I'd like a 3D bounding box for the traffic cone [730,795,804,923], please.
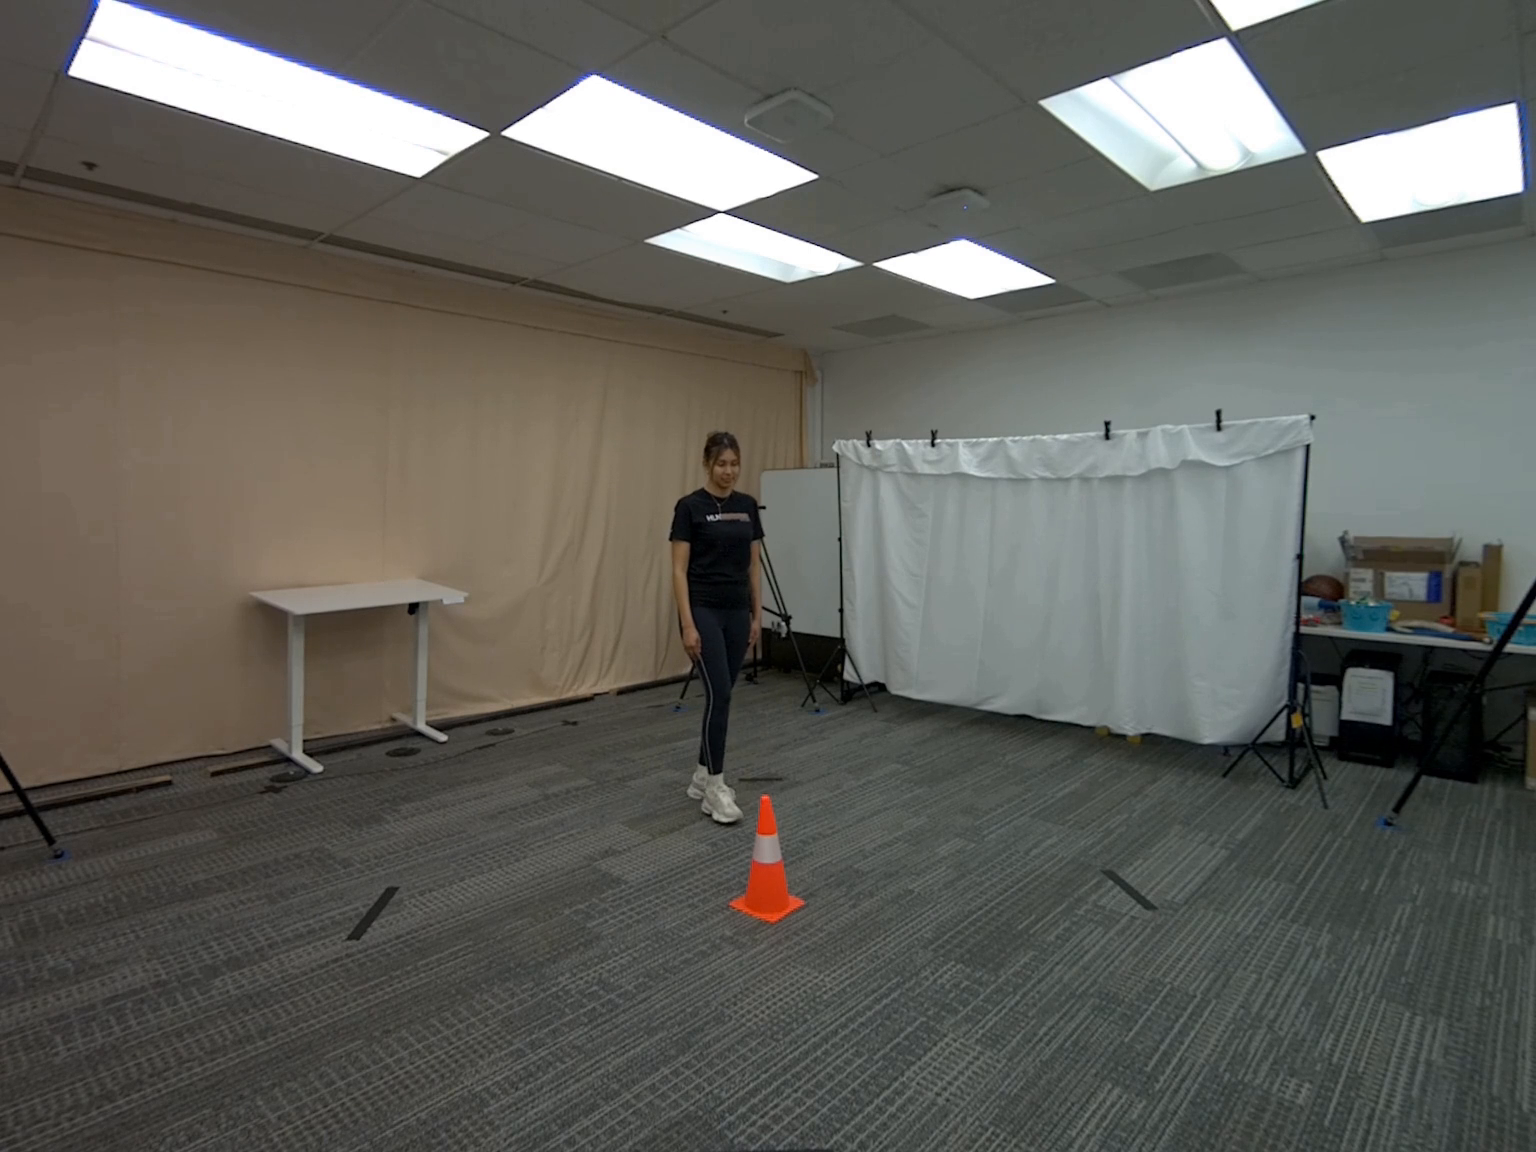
[{"bbox_3d":[-0.006,0.966,2.932,0.210,0.383,0.199,1,4,37],"label":"traffic cone"}]
